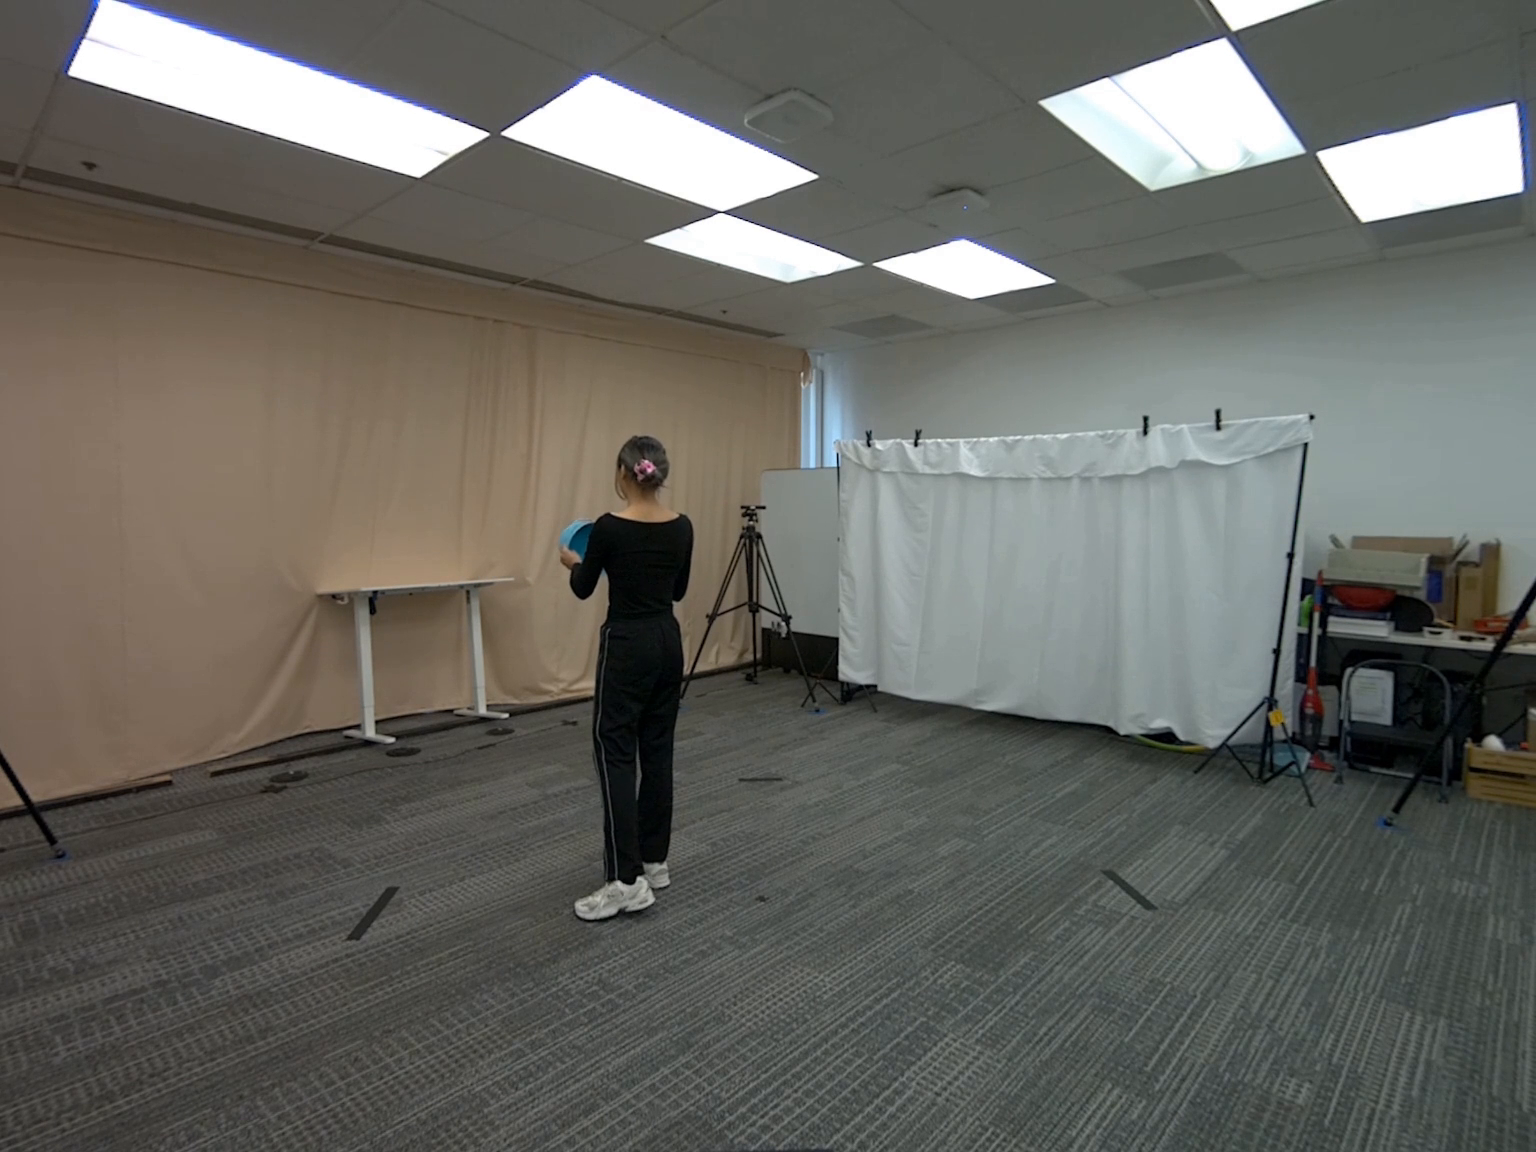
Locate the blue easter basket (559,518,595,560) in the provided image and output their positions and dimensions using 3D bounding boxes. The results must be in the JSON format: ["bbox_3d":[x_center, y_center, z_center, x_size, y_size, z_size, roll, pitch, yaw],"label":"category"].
[{"bbox_3d":[-0.744,-0.122,3.449,0.236,0.242,0.161,-2,12,-34],"label":"blue easter basket"}]
